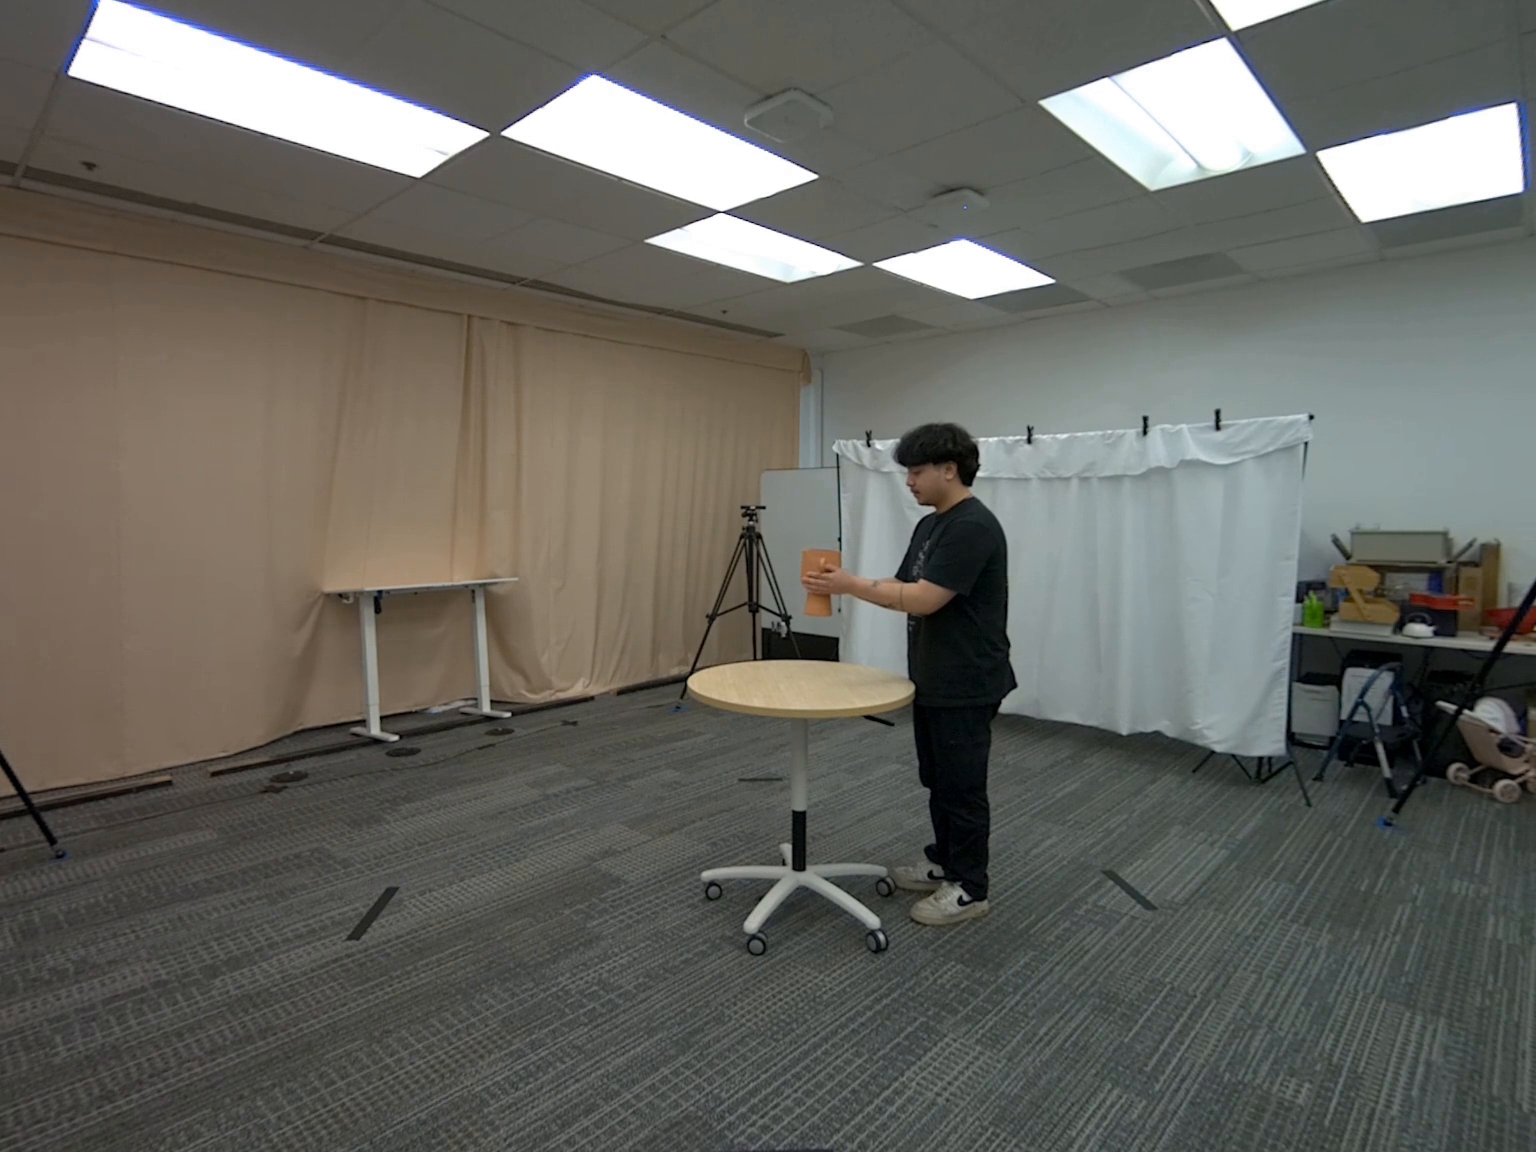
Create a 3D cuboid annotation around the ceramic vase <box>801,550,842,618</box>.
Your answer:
[{"bbox_3d":[0.189,0.023,2.875,0.139,0.219,0.154,5,5,41],"label":"ceramic vase"}]
